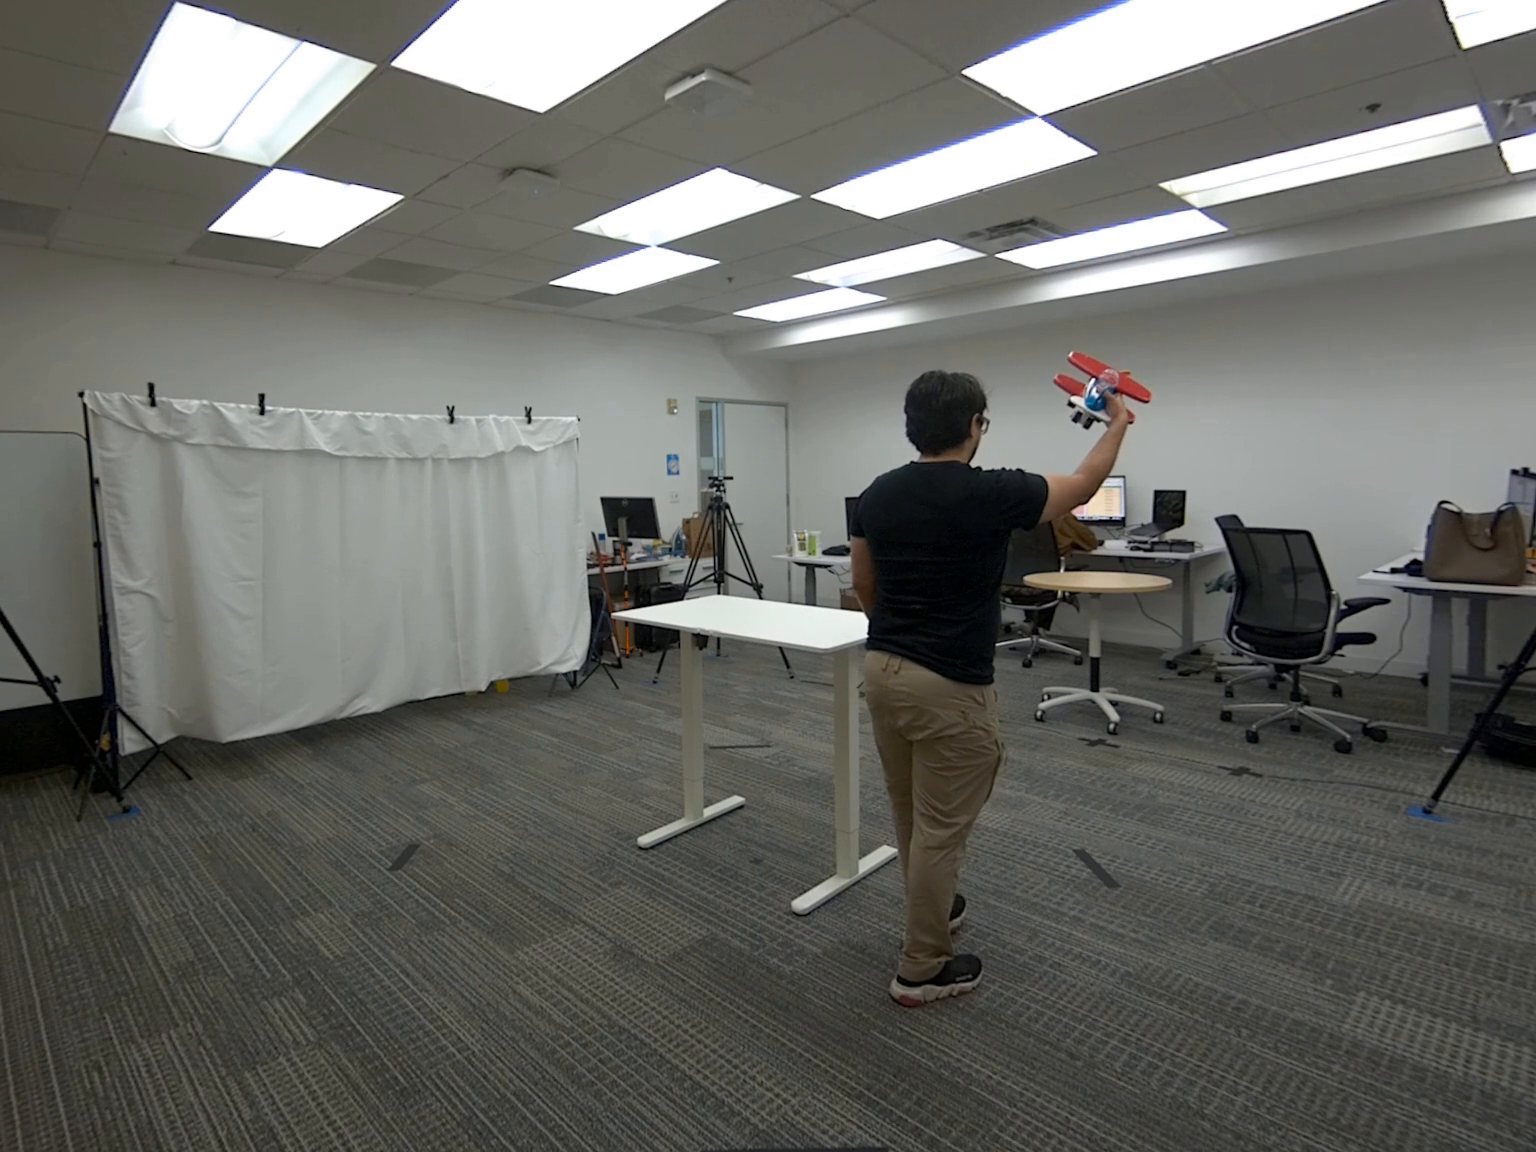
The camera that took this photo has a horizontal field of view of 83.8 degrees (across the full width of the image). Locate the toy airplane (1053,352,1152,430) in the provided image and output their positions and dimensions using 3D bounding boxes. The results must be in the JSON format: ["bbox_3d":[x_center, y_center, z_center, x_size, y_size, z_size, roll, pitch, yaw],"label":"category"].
[{"bbox_3d":[0.965,-0.512,2.442,0.247,0.155,0.266,19,29,-14],"label":"toy airplane"}]
